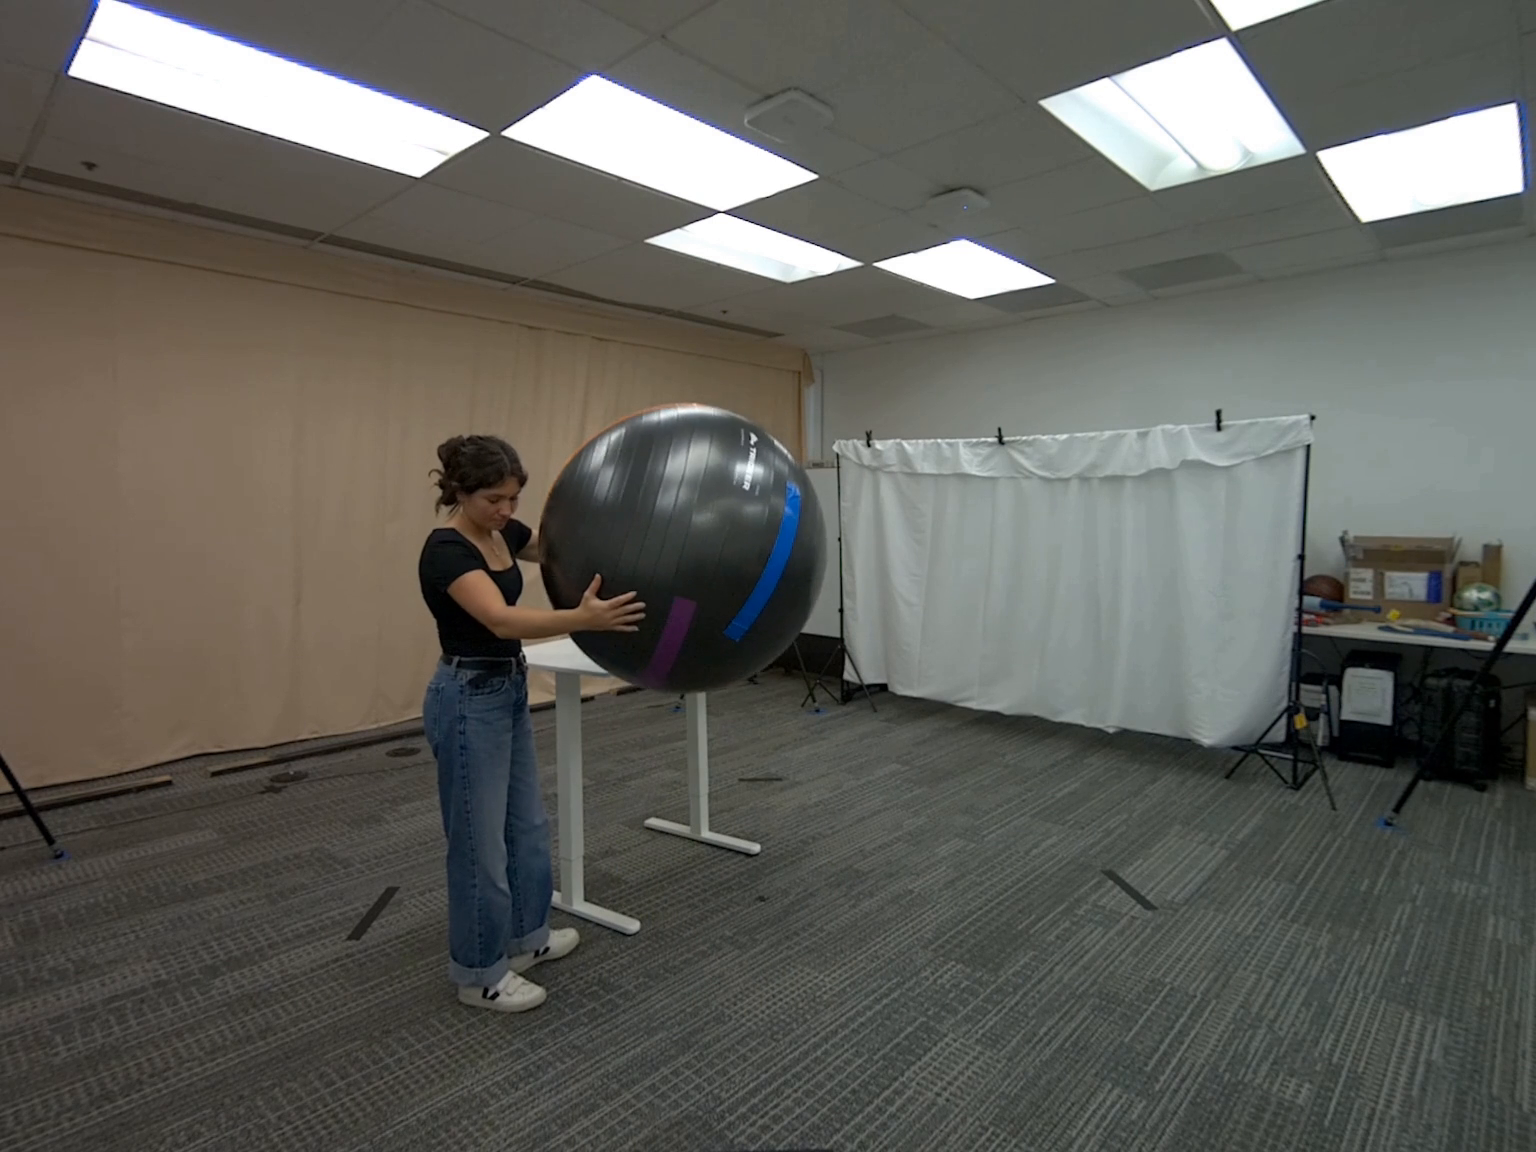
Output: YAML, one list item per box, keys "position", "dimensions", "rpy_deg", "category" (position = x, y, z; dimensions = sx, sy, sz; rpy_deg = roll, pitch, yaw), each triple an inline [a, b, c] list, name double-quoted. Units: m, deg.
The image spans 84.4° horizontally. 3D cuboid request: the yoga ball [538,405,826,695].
- position: [-0.220, -0.058, 2.240]
  dimensions: [0.757, 0.756, 0.760]
  rpy_deg: [0, 4, -2]
  category: "yoga ball"
